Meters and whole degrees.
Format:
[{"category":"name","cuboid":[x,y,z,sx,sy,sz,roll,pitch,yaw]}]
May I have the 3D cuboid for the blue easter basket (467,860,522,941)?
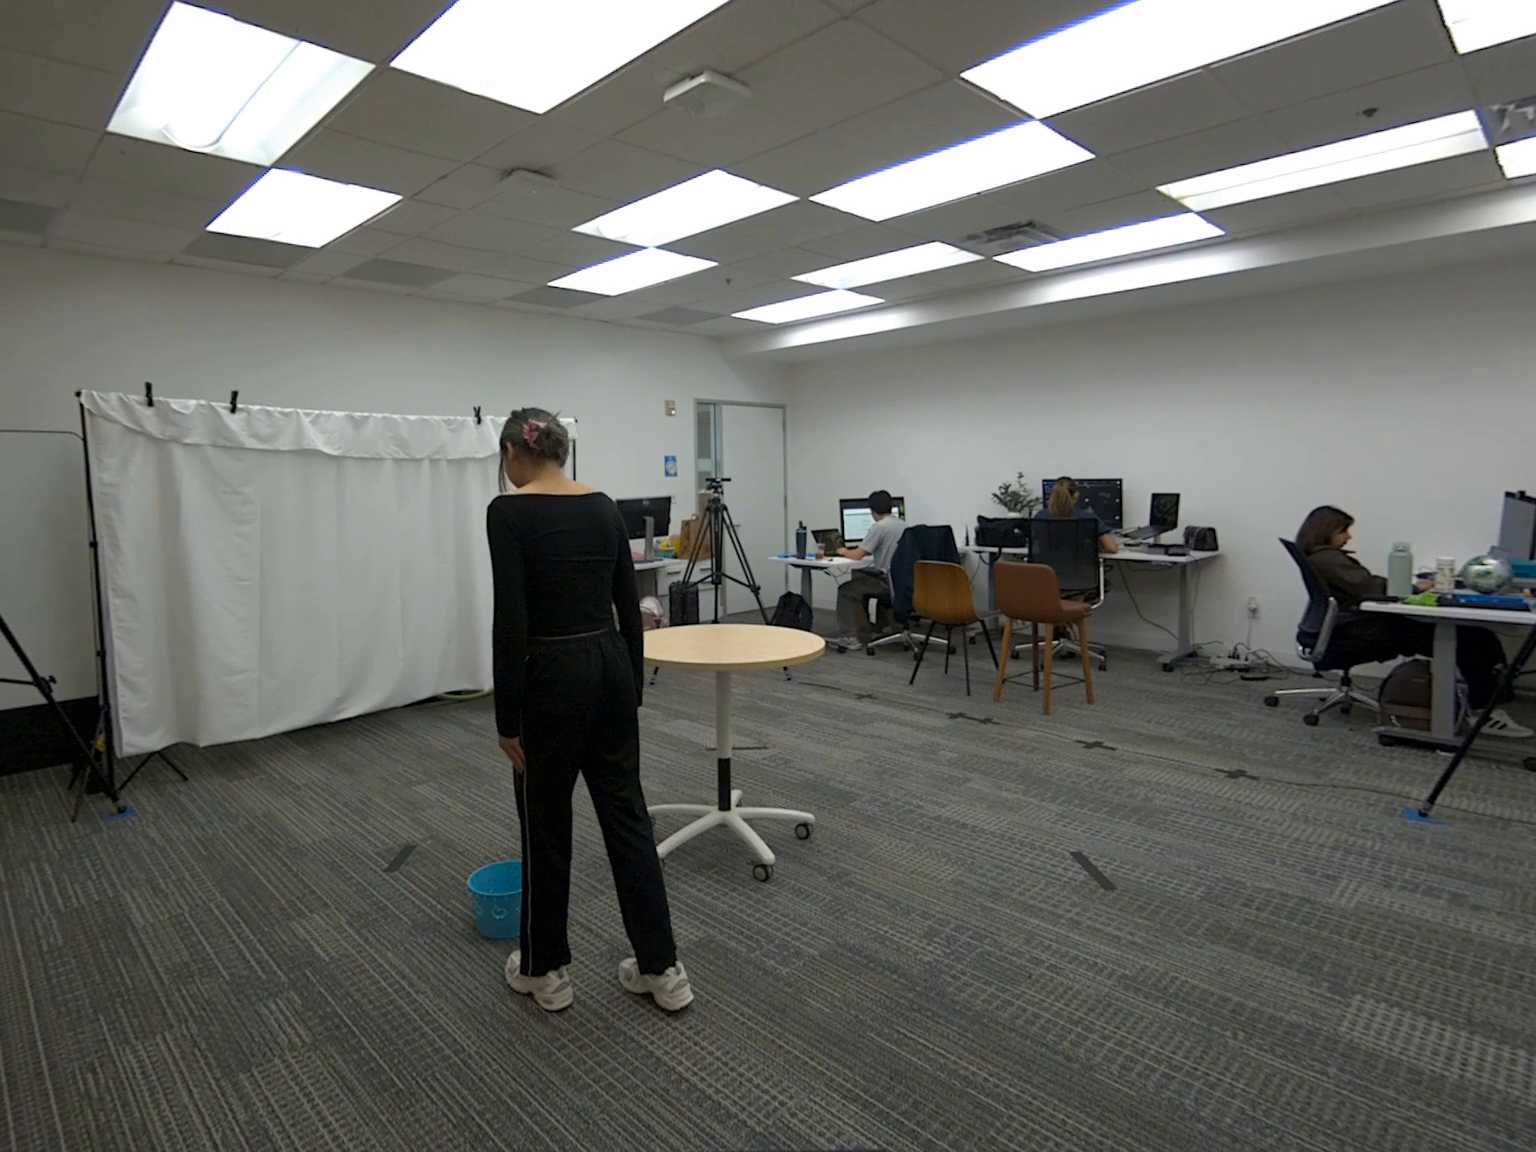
[{"category":"blue easter basket","cuboid":[-0.822,1.025,2.712,0.243,0.155,0.245,0,5,-2]}]
